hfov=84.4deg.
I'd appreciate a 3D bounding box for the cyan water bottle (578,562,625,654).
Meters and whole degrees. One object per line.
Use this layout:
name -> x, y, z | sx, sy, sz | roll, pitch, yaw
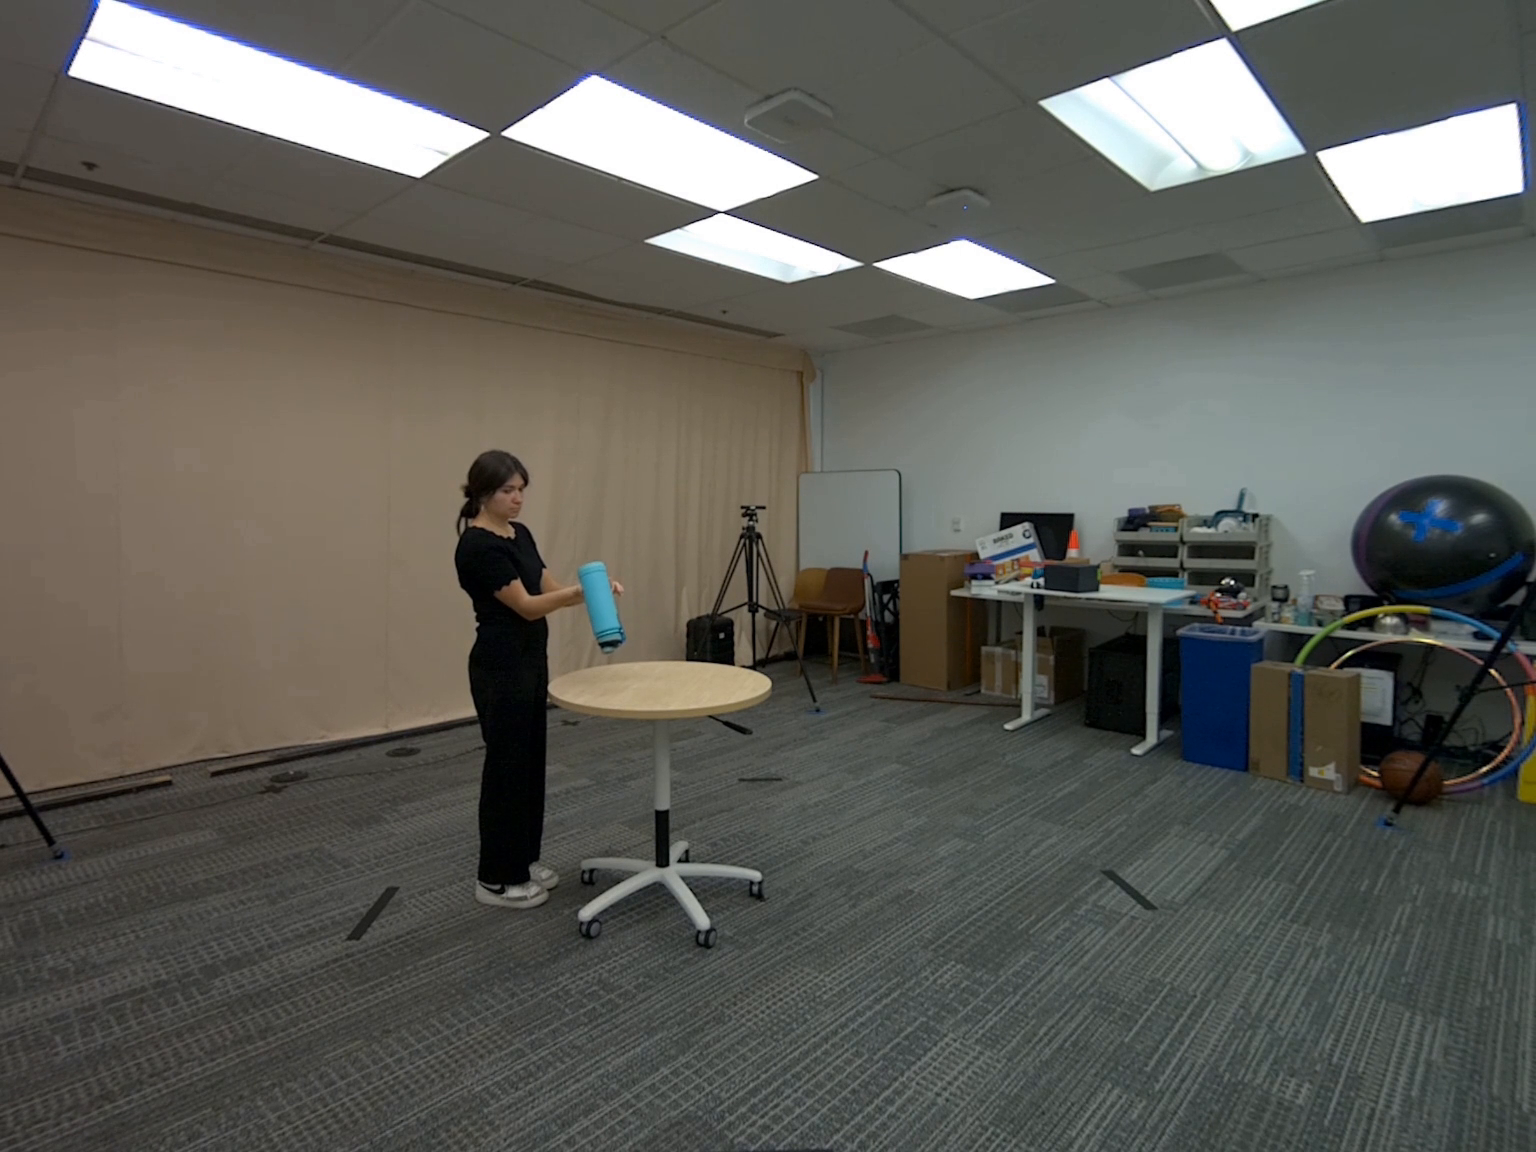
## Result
cyan water bottle -> -0.523, 0.099, 2.658 | 0.092, 0.286, 0.091 | -17, -12, -5
